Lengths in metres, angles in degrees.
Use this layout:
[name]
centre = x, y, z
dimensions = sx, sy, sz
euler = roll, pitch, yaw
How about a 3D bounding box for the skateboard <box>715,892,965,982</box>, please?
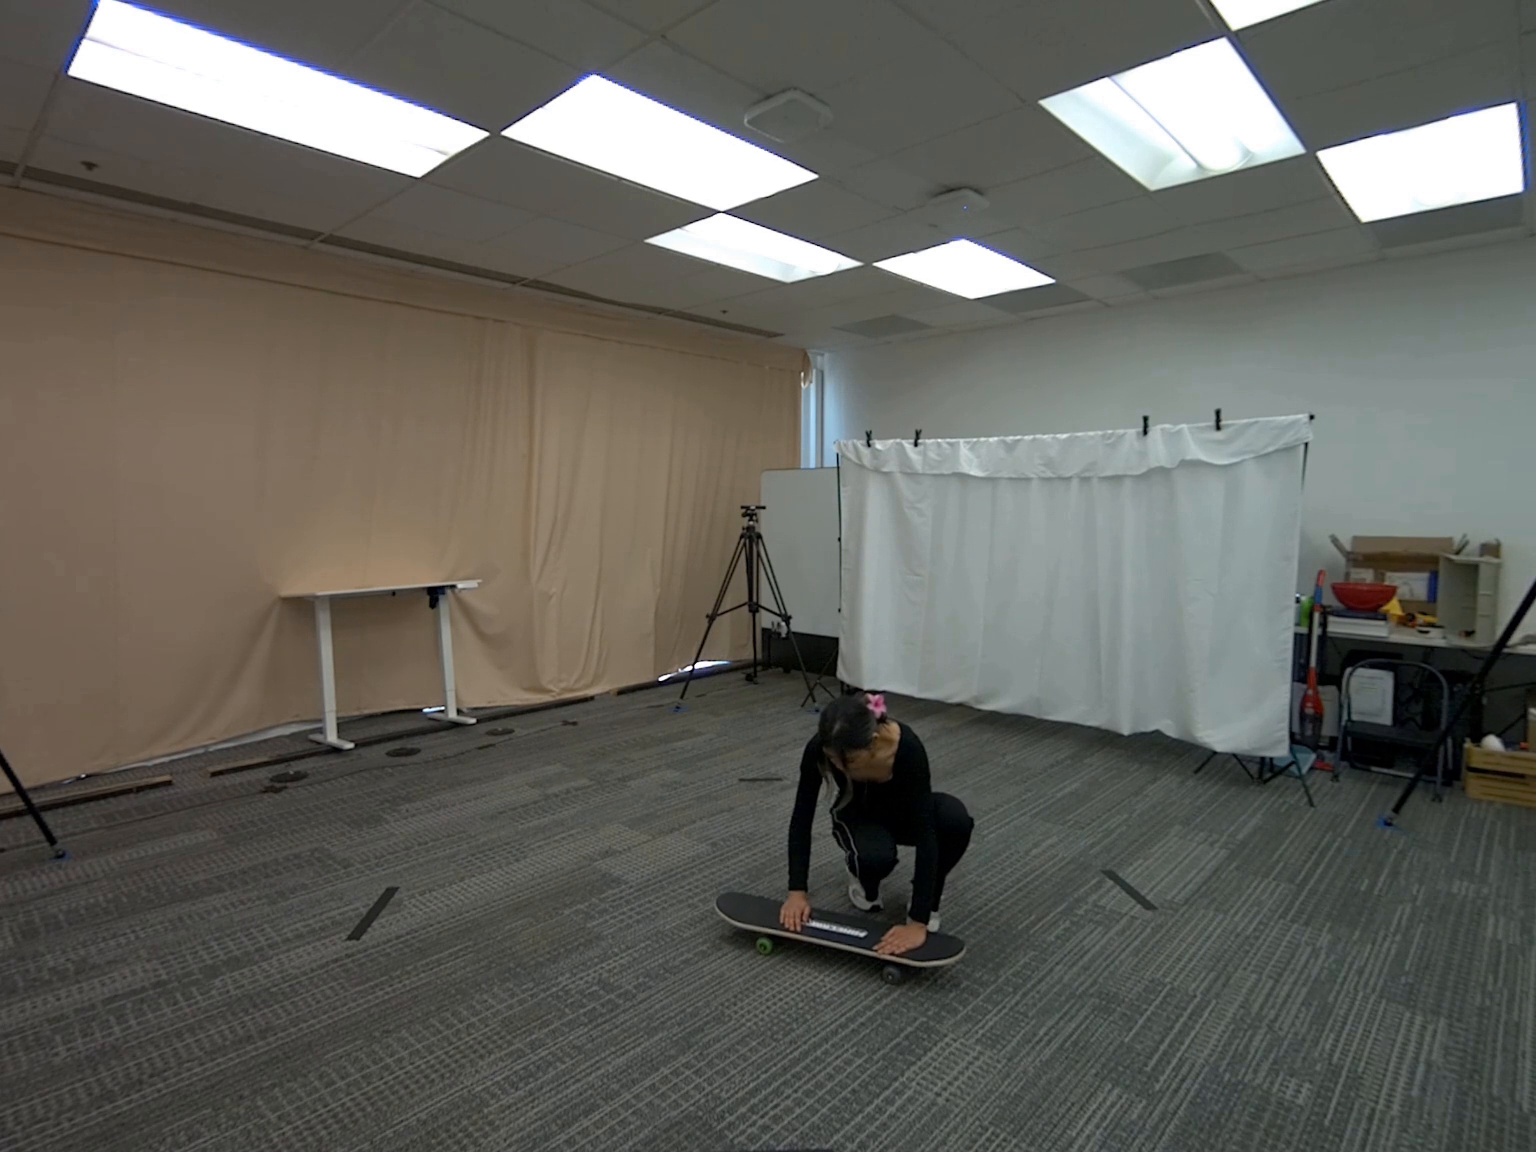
[skateboard]
centre = 0.202, 1.120, 2.610
dimensions = 0.804, 0.110, 0.189
euler = 2, 5, 23
